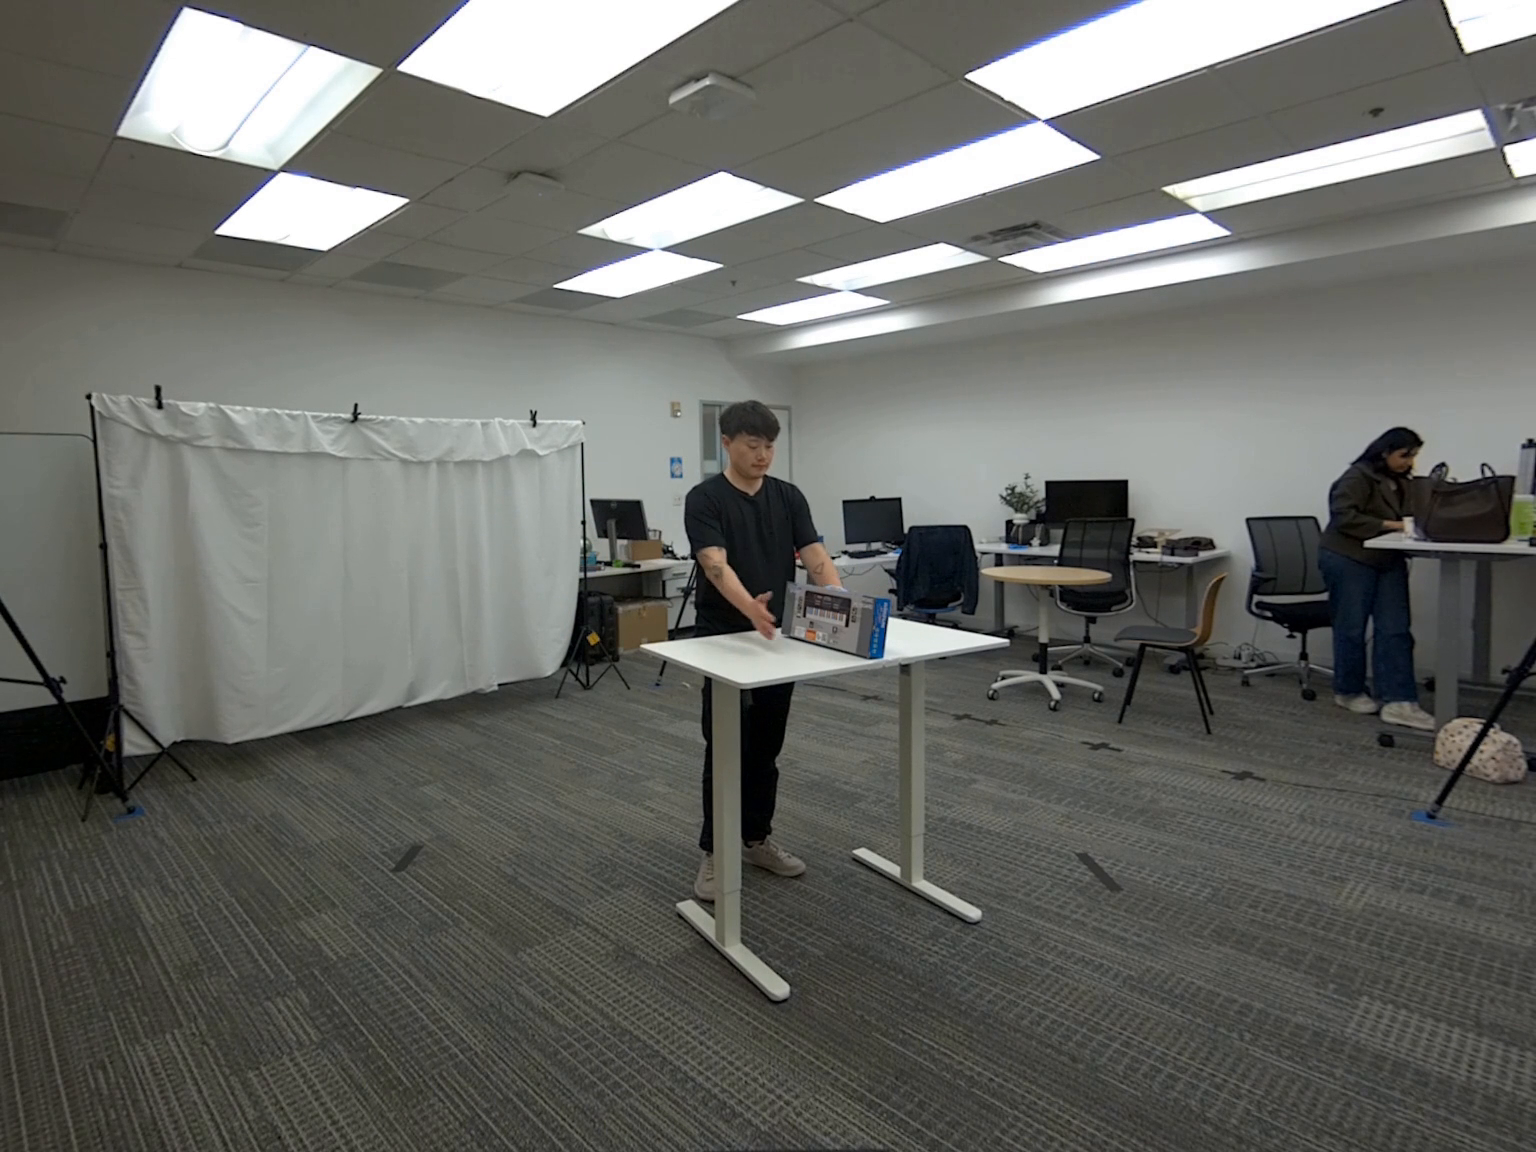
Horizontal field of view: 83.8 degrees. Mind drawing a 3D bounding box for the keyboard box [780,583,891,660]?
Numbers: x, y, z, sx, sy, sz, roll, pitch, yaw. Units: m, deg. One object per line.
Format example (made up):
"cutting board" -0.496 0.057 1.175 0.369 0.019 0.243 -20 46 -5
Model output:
"keyboard box" 0.201 0.133 2.602 0.057 0.176 0.449 5 2 -33
